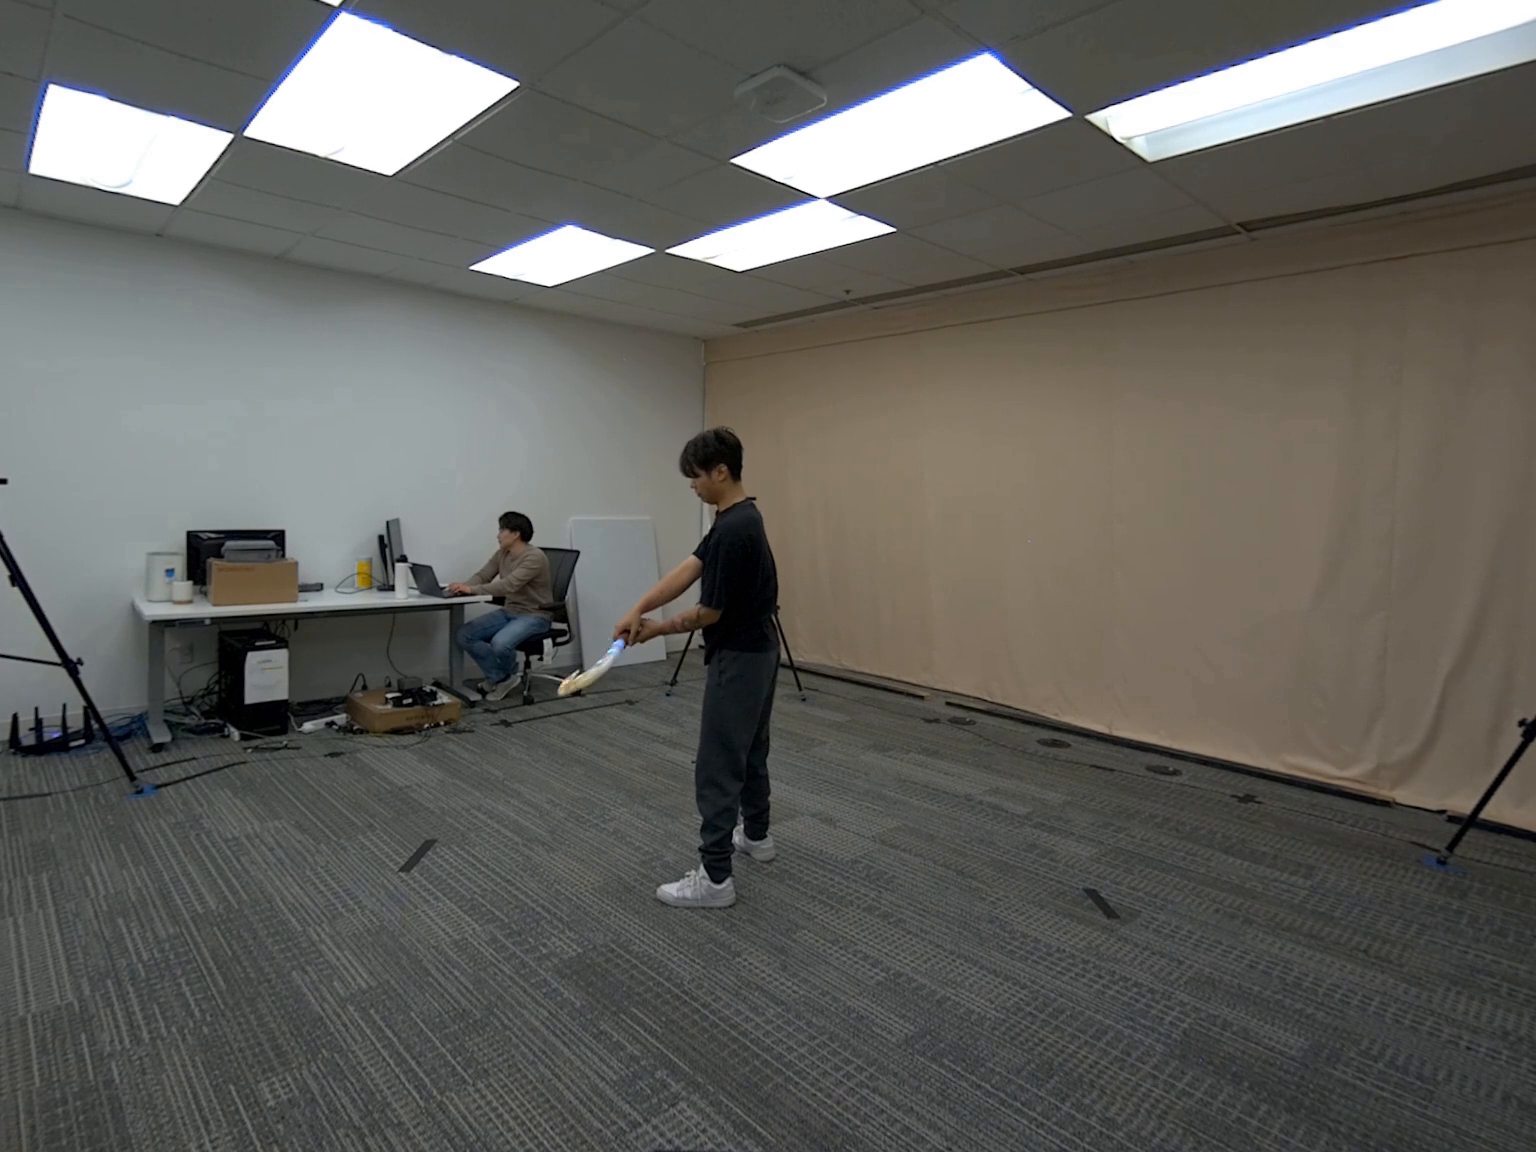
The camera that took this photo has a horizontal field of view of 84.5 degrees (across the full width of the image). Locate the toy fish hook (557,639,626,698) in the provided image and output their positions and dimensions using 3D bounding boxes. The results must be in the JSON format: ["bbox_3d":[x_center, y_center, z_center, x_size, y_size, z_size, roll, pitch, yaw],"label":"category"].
[{"bbox_3d":[-0.573,0.260,2.883,0.227,0.048,0.507,-22,12,22],"label":"toy fish hook"}]
